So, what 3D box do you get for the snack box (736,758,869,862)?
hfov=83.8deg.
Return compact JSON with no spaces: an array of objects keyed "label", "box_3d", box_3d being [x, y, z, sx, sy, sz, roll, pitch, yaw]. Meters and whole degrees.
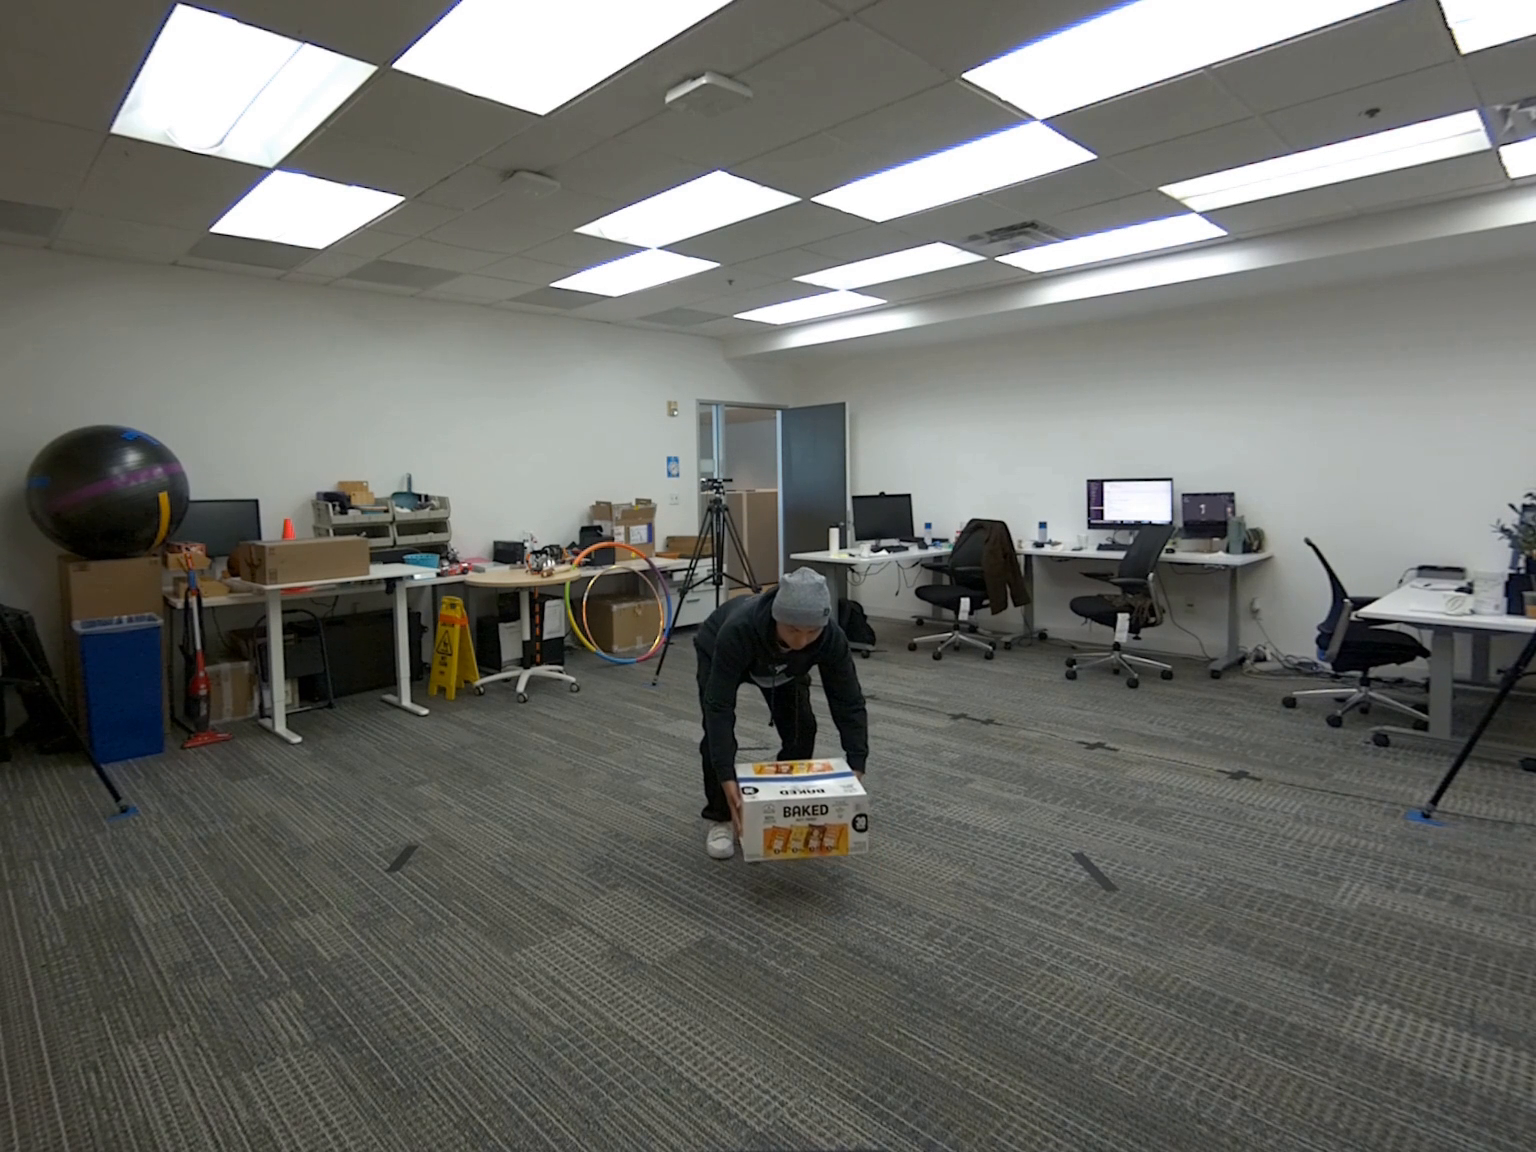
[{"label":"snack box","box_3d":[0.105,0.785,2.892,0.403,0.204,0.344,-3,7,-6]}]
